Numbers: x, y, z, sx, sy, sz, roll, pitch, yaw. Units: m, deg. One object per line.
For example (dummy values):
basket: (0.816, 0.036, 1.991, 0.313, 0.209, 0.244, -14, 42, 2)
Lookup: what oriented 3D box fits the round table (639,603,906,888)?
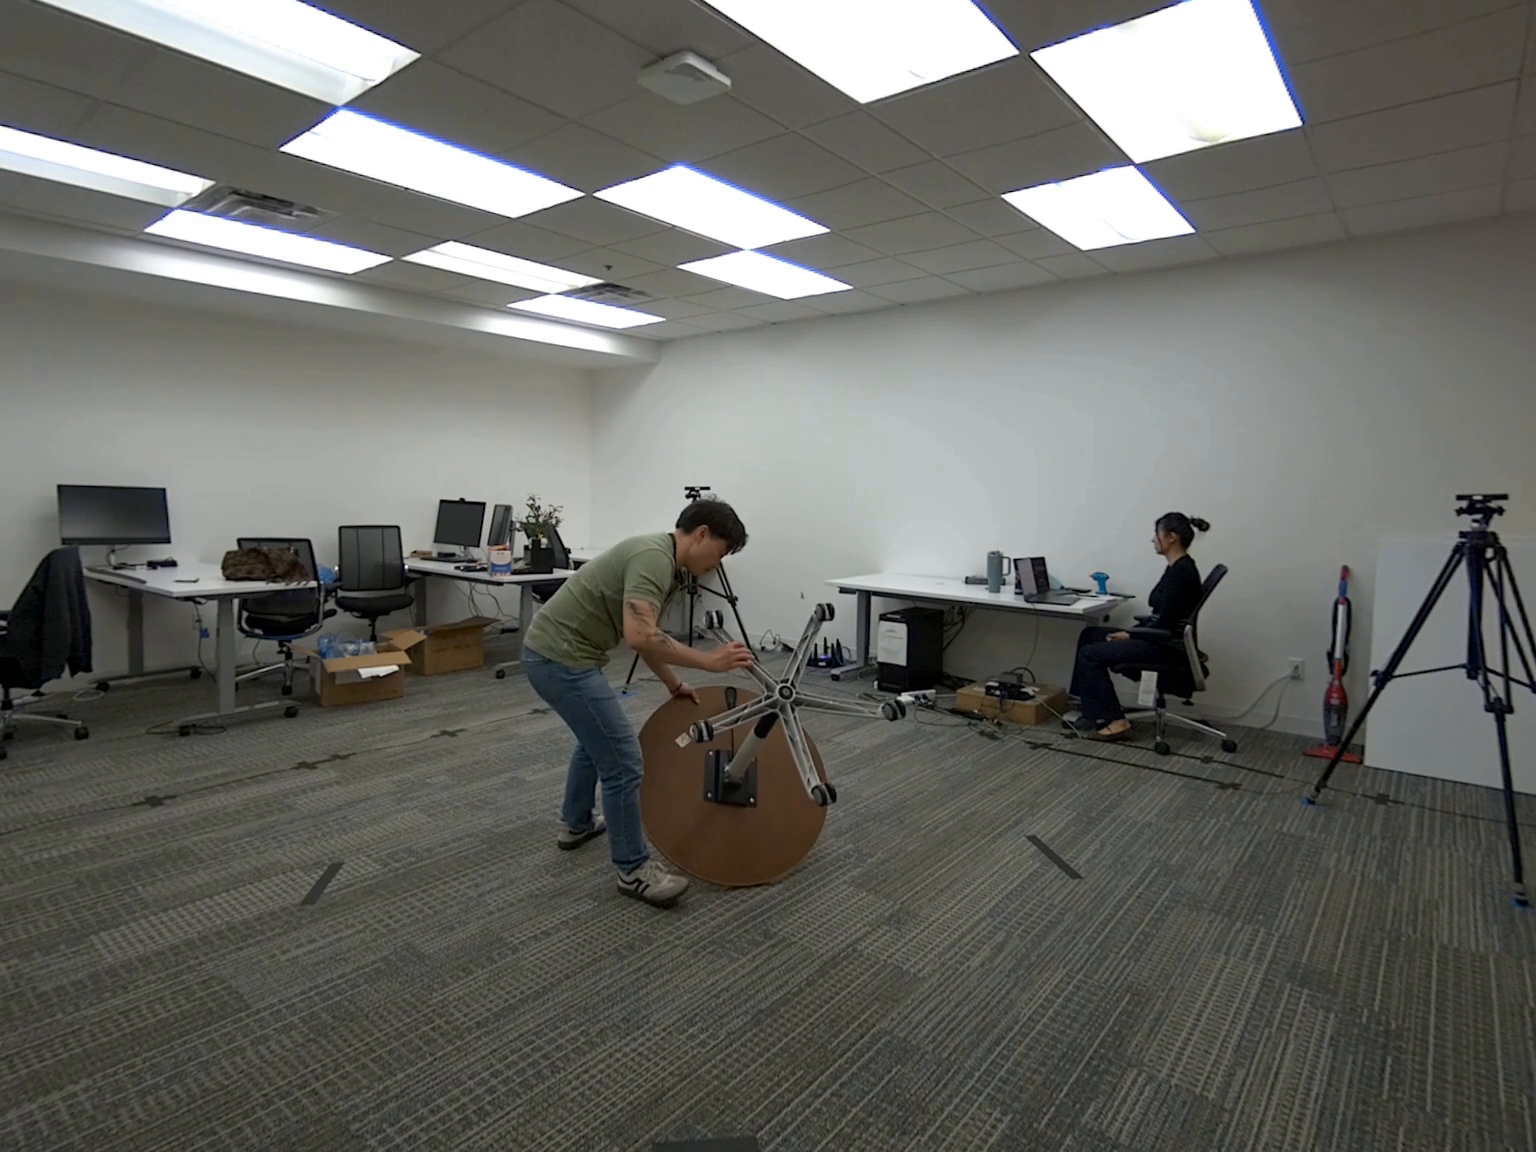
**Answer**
round table: (-0.032, 0.547, 2.891, 0.749, 0.790, 0.783, -1, -36, -19)
